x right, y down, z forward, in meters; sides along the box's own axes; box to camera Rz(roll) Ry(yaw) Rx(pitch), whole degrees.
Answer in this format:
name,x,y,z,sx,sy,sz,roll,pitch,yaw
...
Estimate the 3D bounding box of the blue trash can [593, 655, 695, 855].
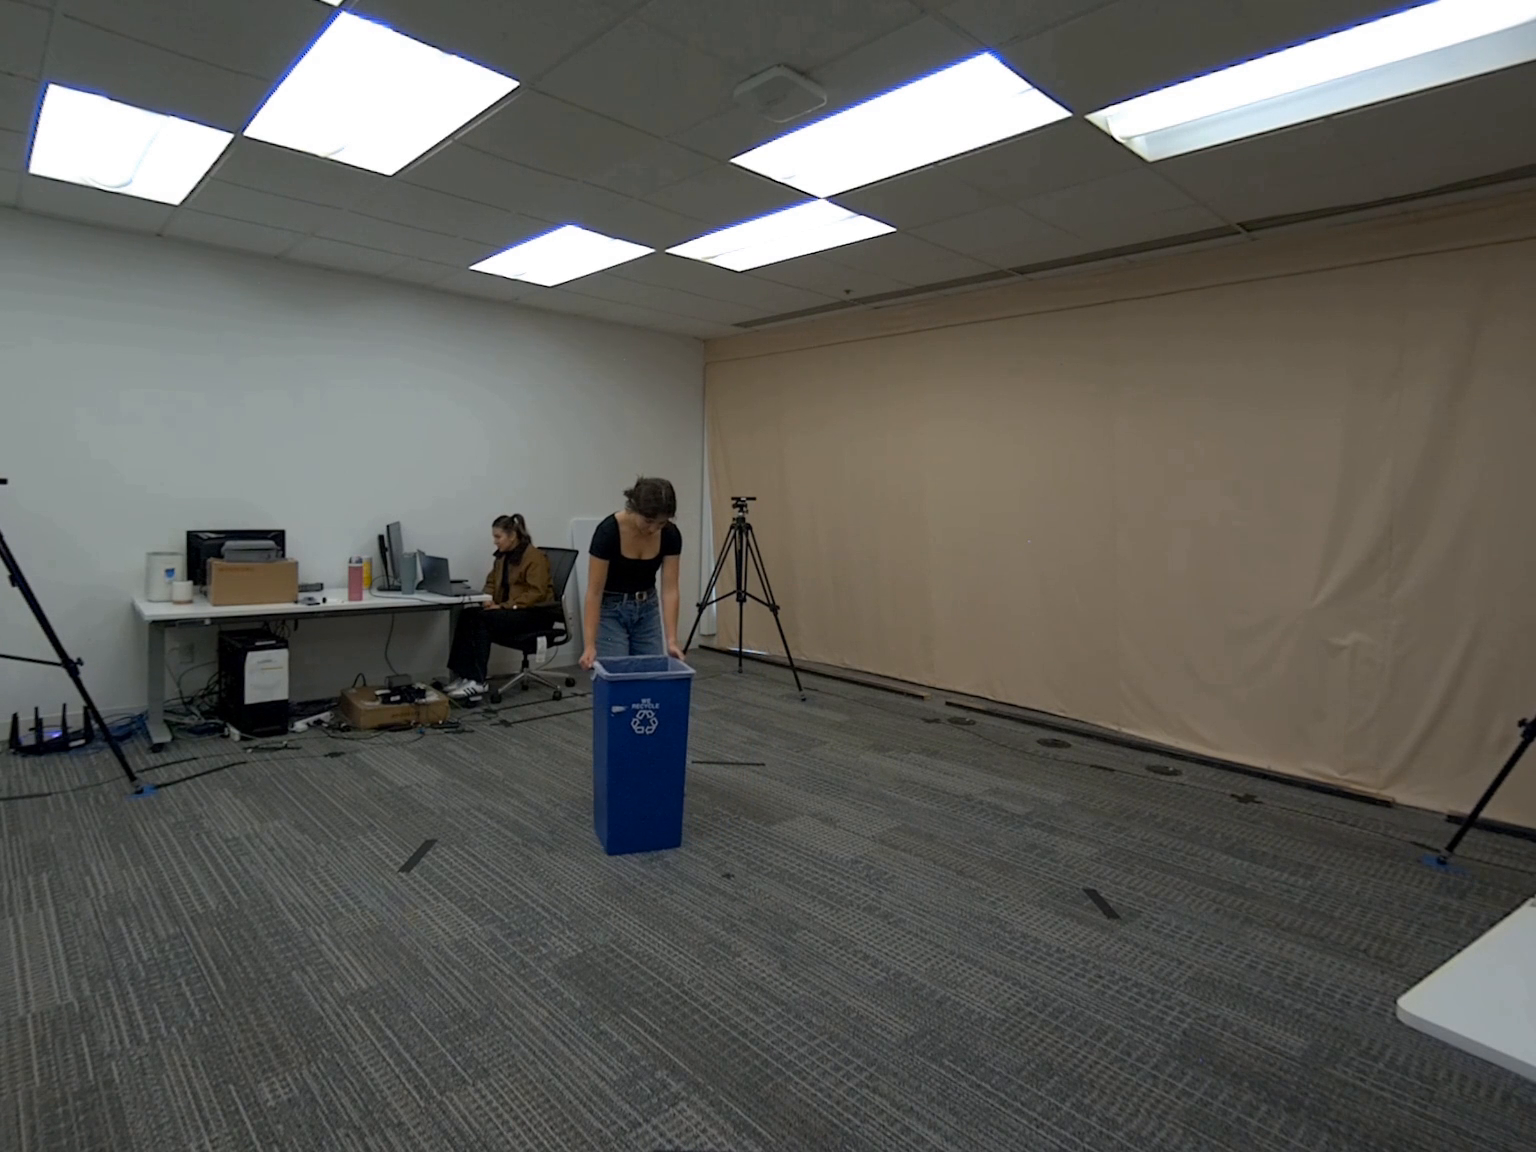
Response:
name,x,y,z,sx,sy,sz,roll,pitch,yaw
blue trash can,-0.526,0.710,3.428,0.368,0.712,0.385,0,3,-21
